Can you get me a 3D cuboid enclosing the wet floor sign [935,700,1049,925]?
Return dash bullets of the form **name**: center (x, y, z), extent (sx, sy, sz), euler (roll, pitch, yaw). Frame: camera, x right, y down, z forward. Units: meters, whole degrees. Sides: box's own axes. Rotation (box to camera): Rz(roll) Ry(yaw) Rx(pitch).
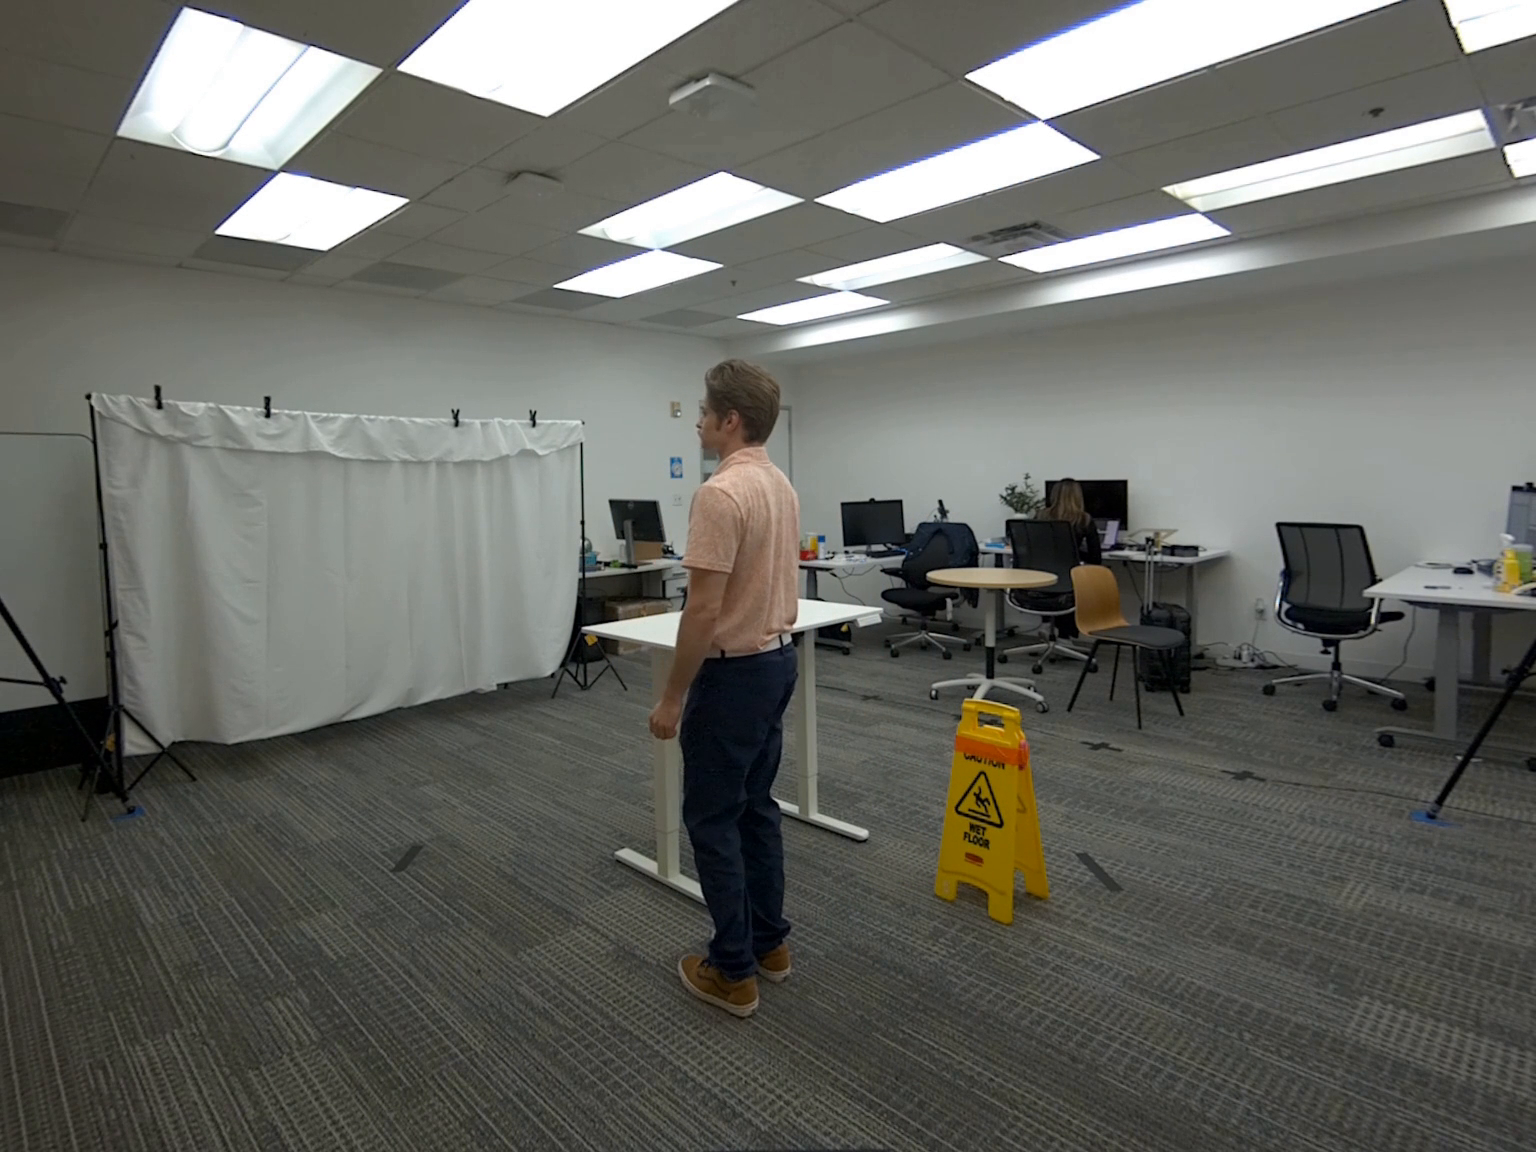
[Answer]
- **wet floor sign**: center (0.734, 0.745, 2.807), extent (0.282, 0.644, 0.291), euler (-6, 5, -44)
